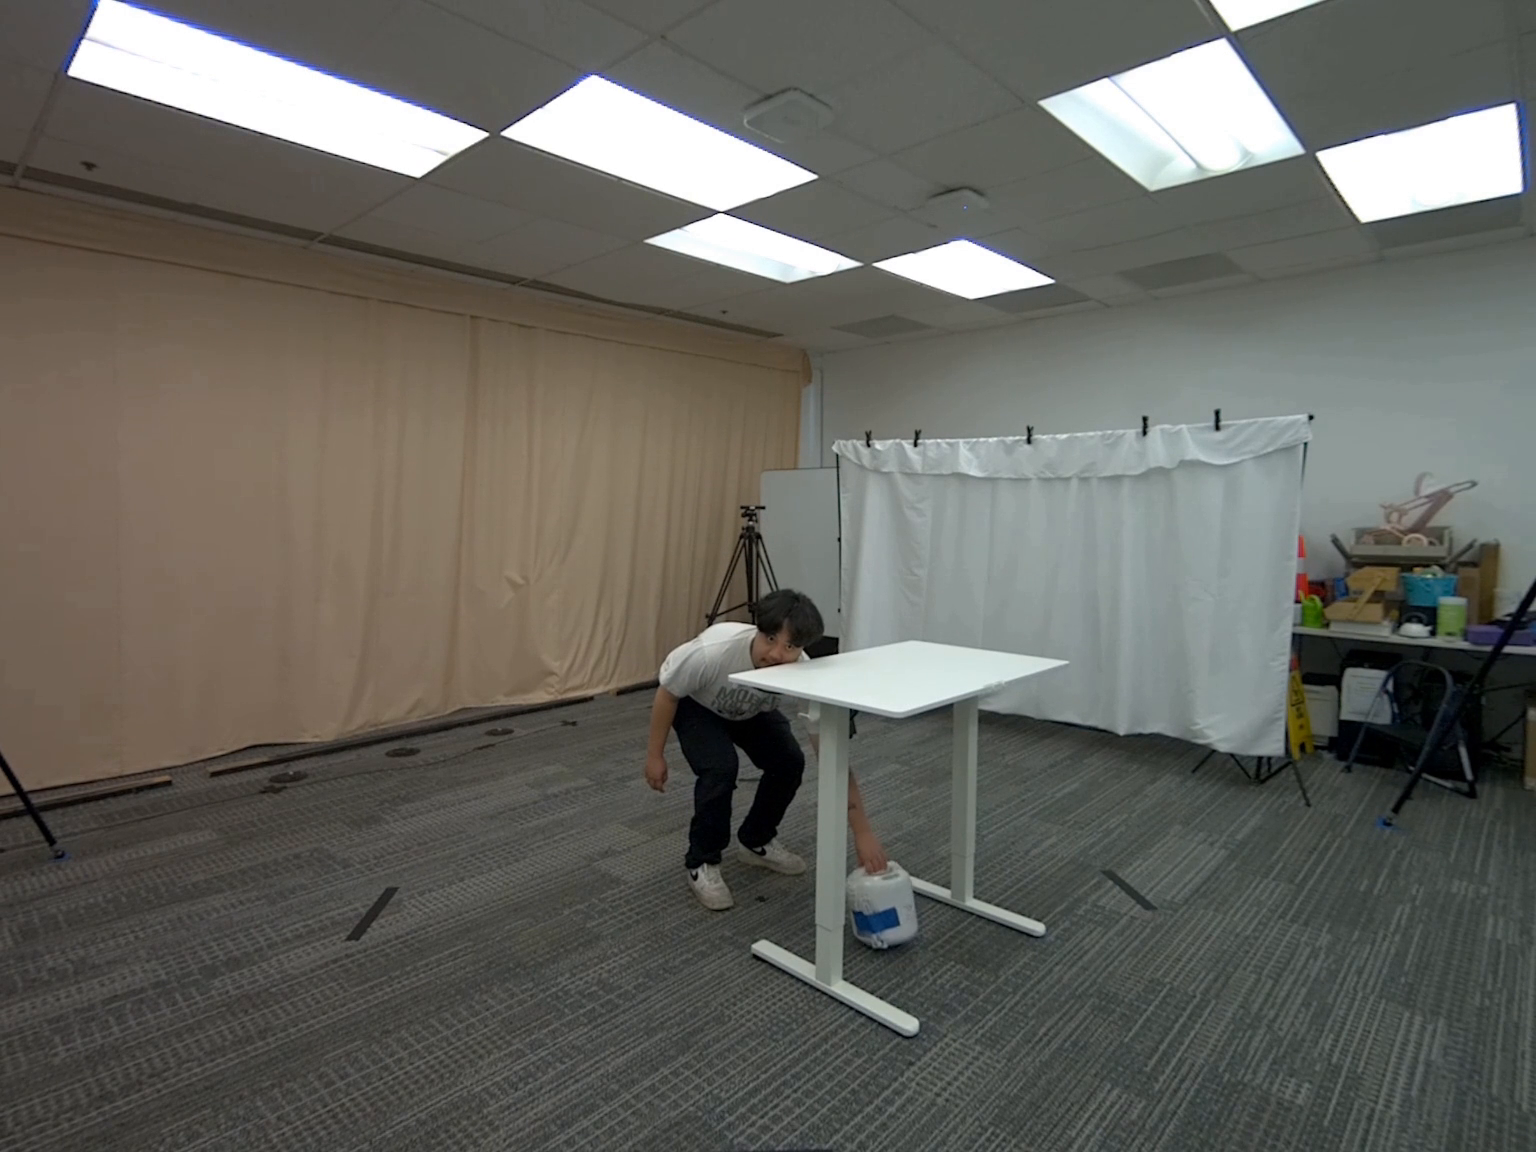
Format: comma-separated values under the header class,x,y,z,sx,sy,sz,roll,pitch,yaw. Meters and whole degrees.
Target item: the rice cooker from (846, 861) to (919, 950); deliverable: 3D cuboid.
class,x,y,z,sx,sy,sz,roll,pitch,yaw
rice cooker,0.364,1.039,2.698,0.216,0.234,0.220,-4,-8,-21
